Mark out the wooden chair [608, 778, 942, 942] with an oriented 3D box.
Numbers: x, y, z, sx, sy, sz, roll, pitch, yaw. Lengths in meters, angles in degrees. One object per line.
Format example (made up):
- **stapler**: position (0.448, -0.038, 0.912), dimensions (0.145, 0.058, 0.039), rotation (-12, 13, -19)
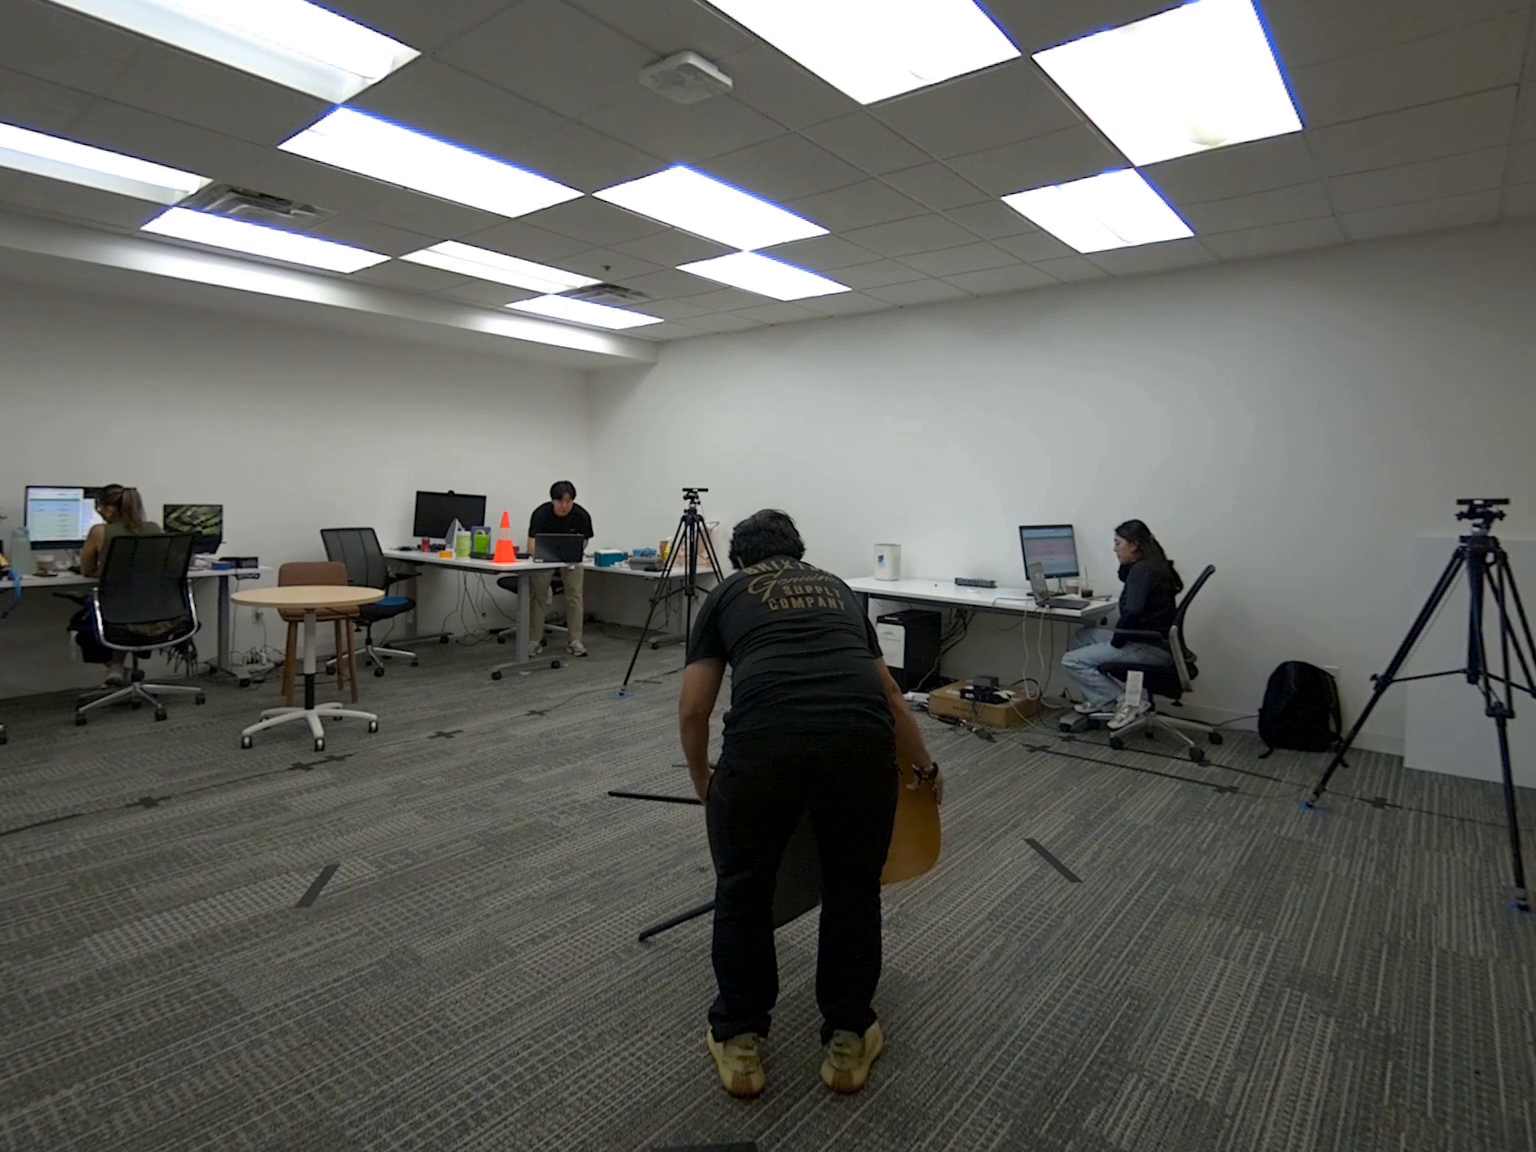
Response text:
- **wooden chair**: position (-0.001, 0.771, 2.537), dimensions (0.894, 0.484, 0.507), rotation (-19, -10, 35)
